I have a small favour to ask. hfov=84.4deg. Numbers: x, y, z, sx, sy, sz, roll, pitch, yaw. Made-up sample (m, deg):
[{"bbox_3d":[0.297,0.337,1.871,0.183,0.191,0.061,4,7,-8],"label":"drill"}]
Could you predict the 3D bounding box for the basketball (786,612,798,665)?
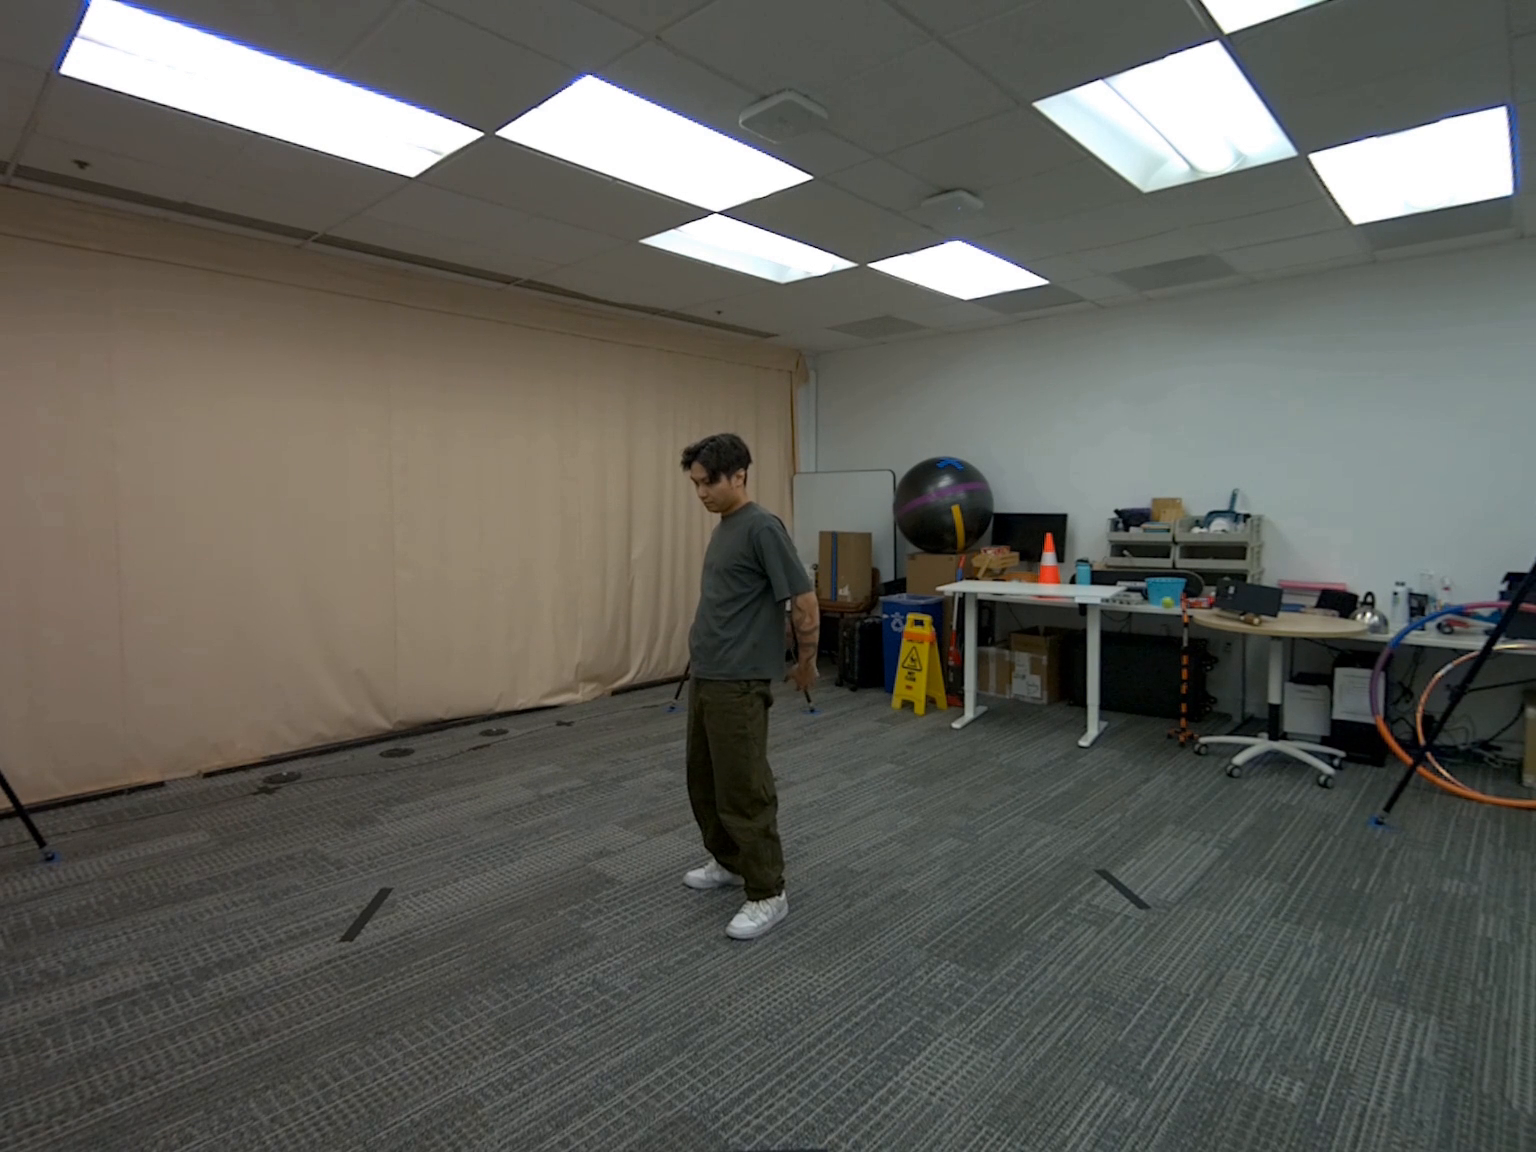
[{"bbox_3d":[-0.035,0.208,3.095,0.236,0.235,0.237,0,4,-2],"label":"basketball"}]
